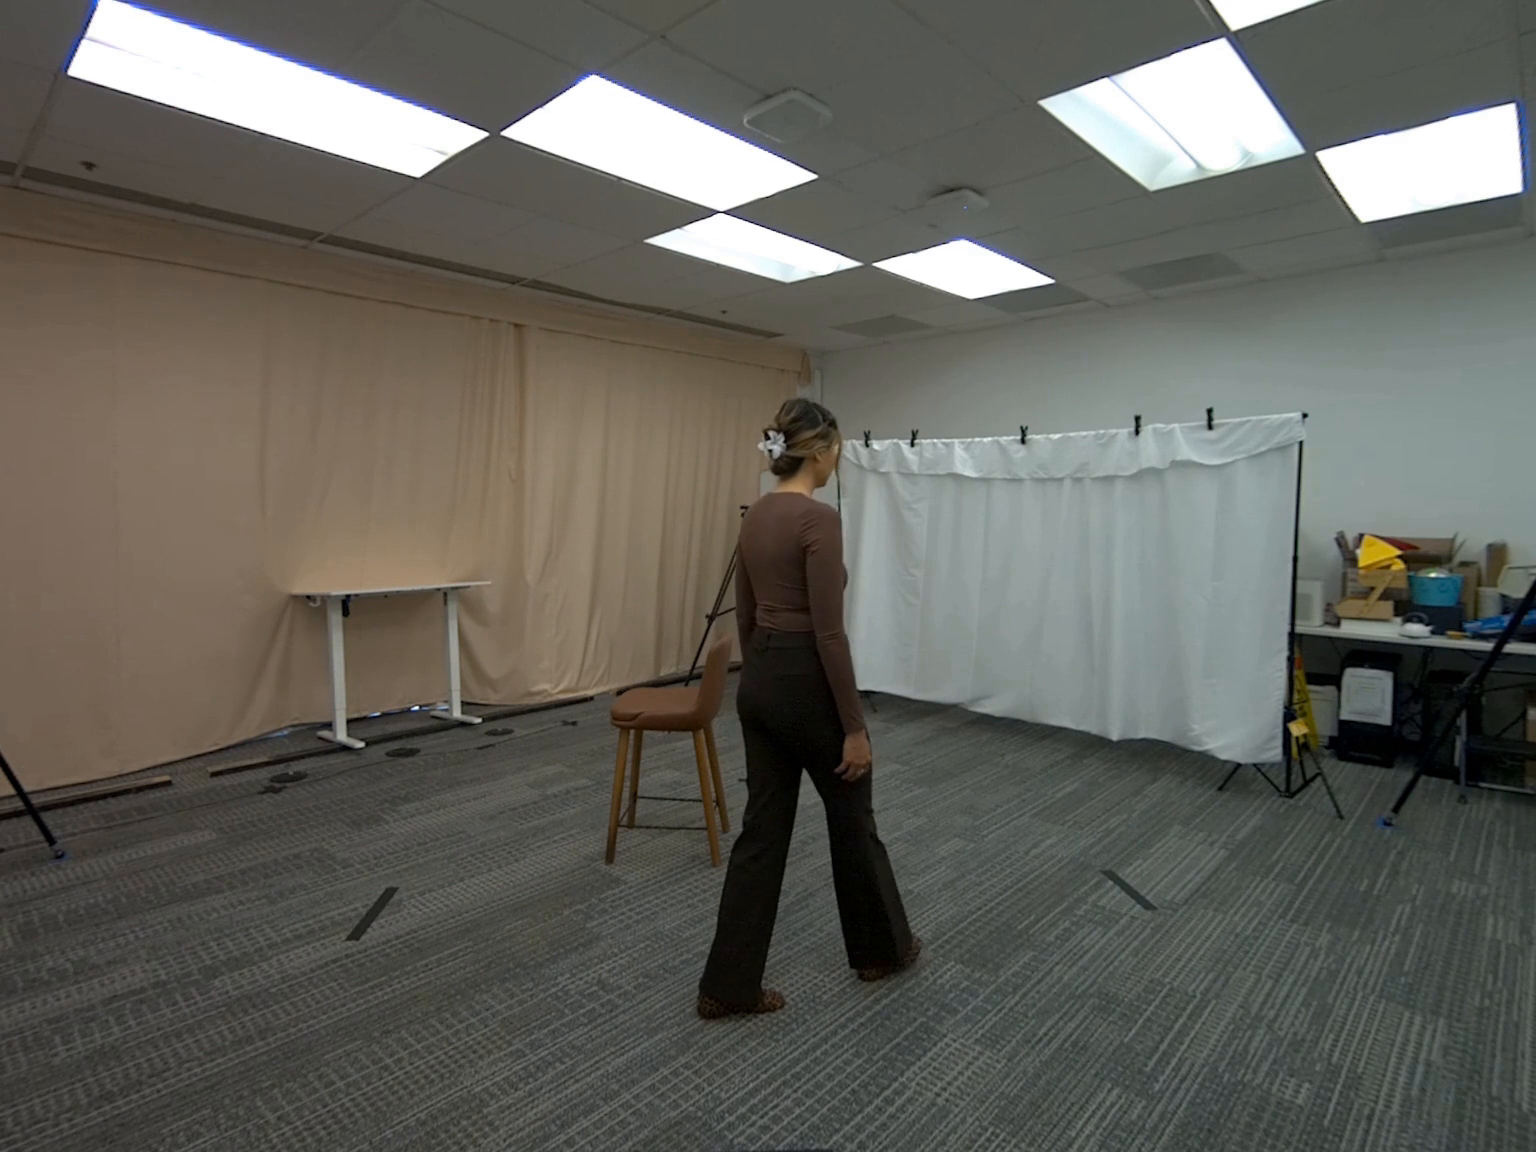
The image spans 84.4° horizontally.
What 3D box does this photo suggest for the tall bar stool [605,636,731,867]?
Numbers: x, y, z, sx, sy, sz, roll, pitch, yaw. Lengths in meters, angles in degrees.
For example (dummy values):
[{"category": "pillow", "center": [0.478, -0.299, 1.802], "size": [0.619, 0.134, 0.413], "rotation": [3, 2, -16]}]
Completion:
[{"category": "tall bar stool", "center": [-0.398, 0.675, 3.435], "size": [0.471, 0.888, 0.454], "rotation": [1, 4, 5]}]
